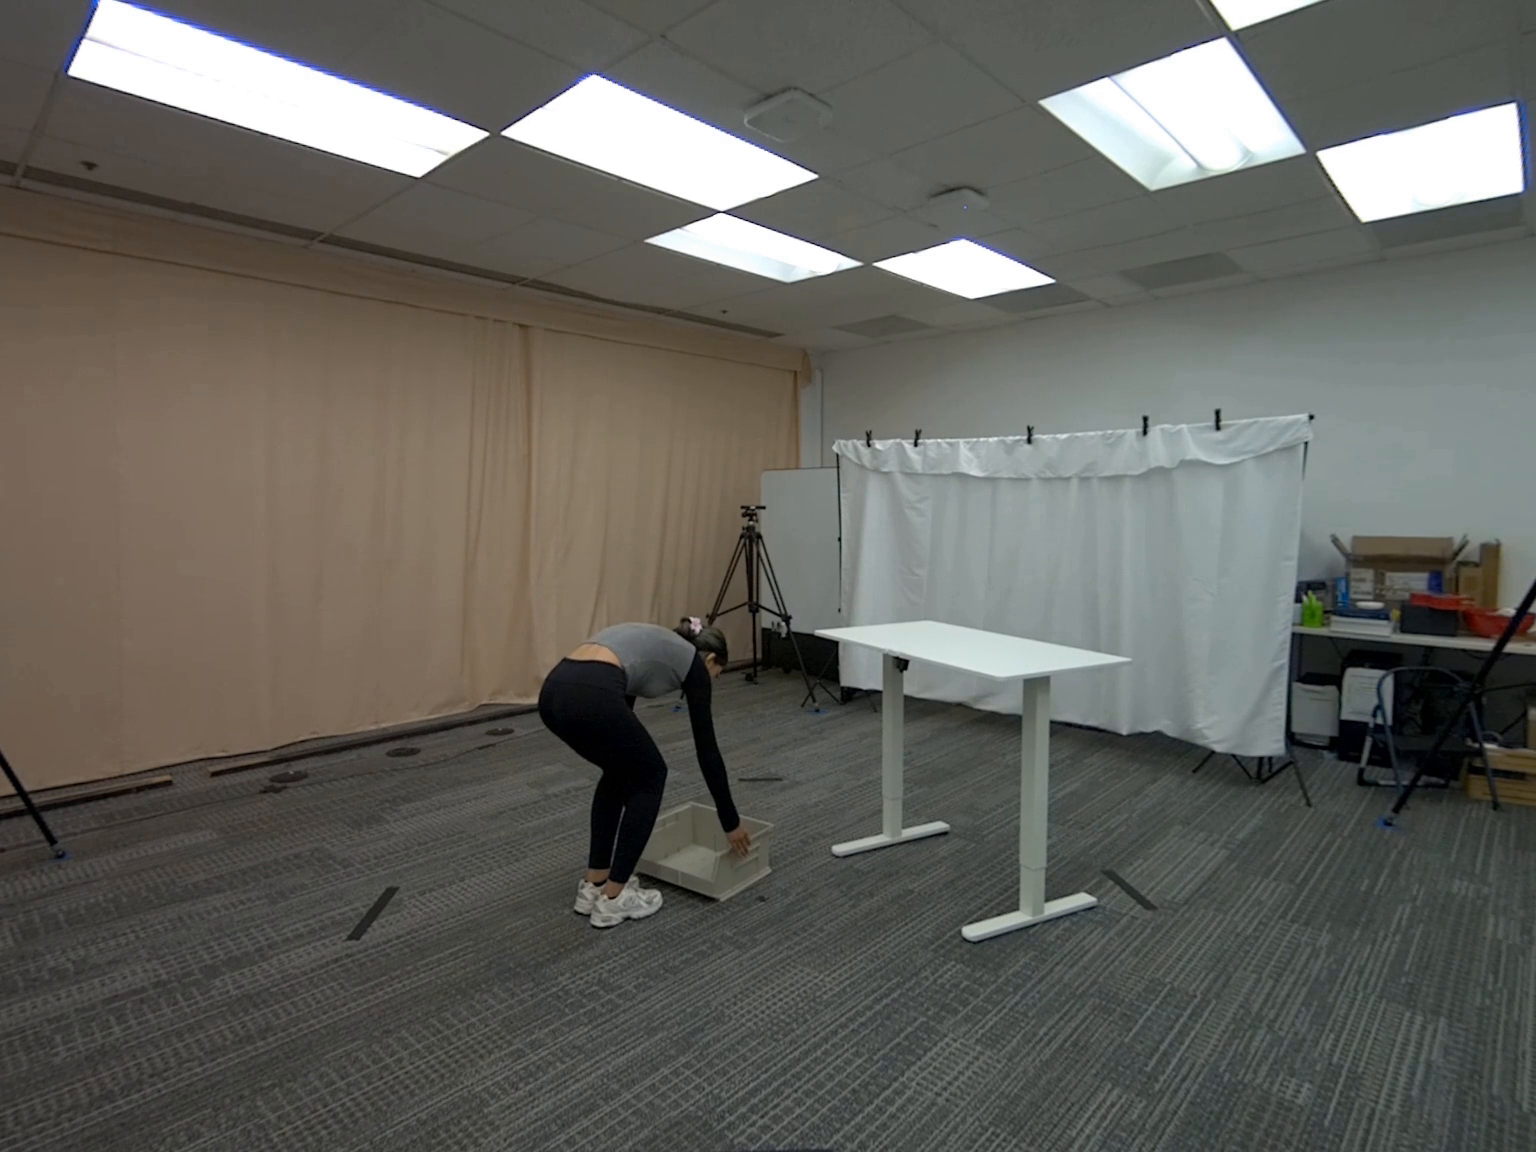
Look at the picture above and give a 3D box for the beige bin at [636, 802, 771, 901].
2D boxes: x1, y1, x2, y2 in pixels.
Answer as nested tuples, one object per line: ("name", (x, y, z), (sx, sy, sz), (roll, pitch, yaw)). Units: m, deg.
("beige bin", (-0.250, 1.038, 3.188), (0.436, 0.188, 0.366), (2, 5, 36))
